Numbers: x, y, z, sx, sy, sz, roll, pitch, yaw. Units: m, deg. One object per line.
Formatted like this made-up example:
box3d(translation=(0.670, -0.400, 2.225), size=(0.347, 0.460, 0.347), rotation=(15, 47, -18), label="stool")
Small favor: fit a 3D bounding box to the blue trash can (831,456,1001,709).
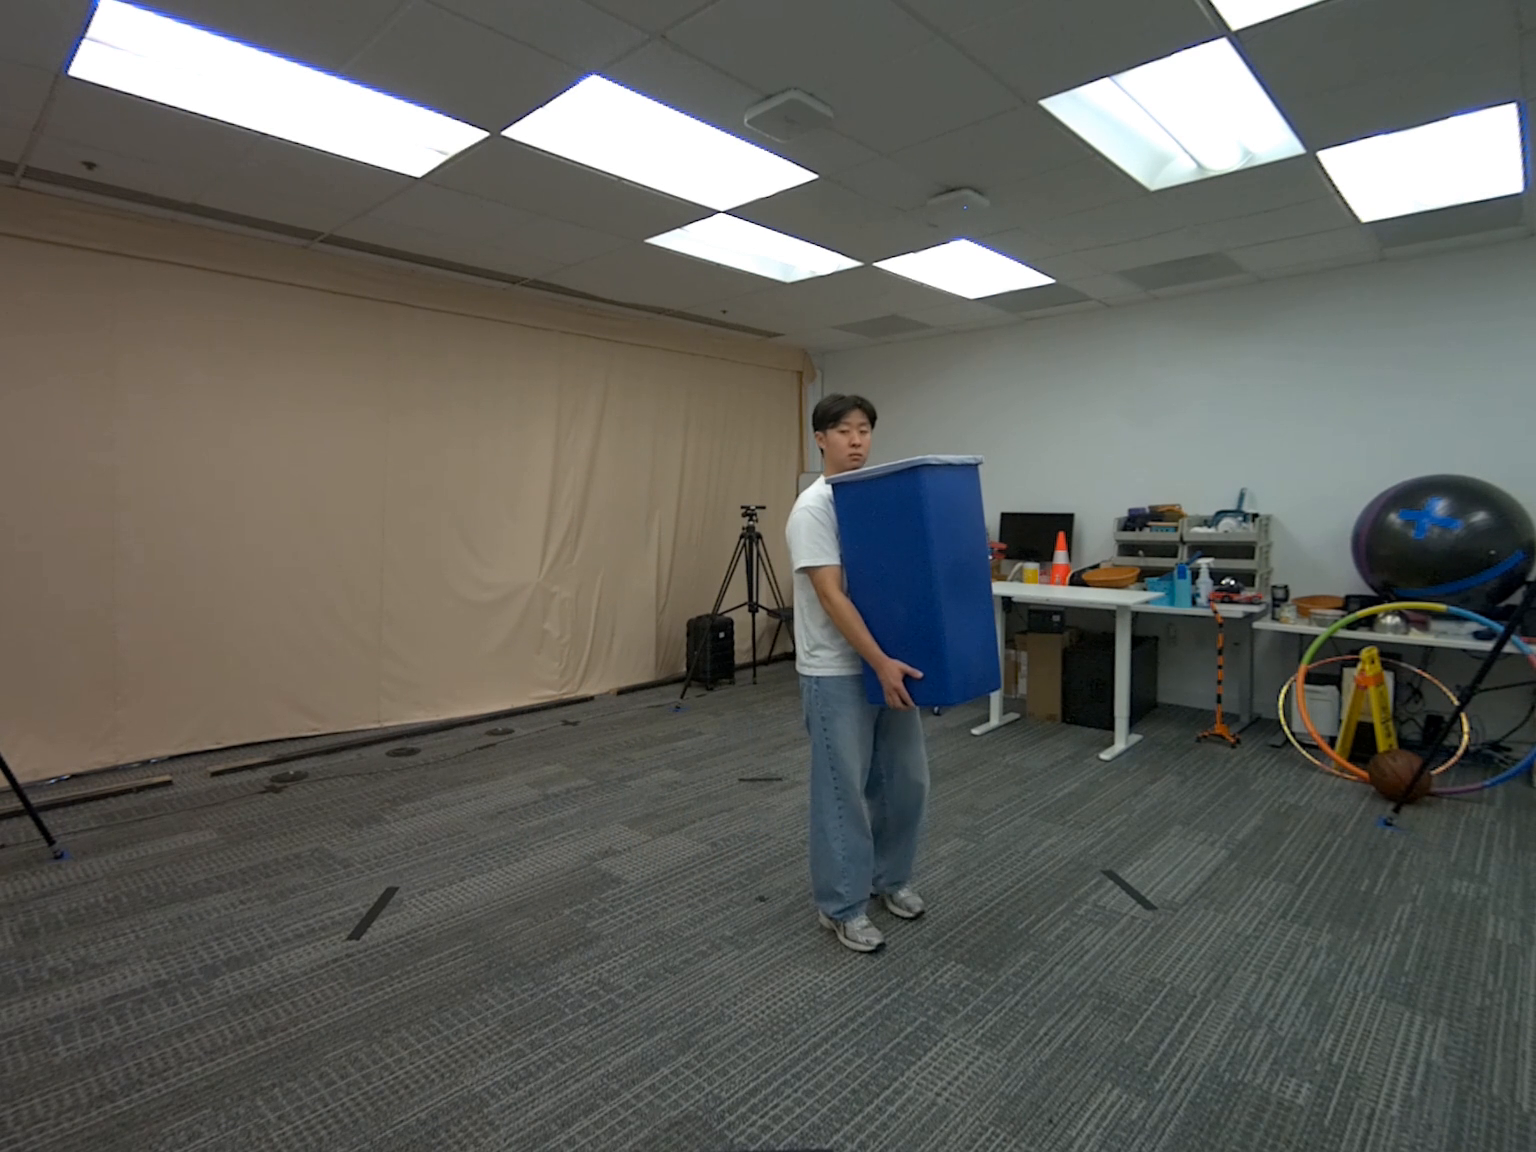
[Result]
box3d(translation=(0.479, 0.014, 2.577), size=(0.389, 0.715, 0.363), rotation=(-9, -2, 42), label="blue trash can")
